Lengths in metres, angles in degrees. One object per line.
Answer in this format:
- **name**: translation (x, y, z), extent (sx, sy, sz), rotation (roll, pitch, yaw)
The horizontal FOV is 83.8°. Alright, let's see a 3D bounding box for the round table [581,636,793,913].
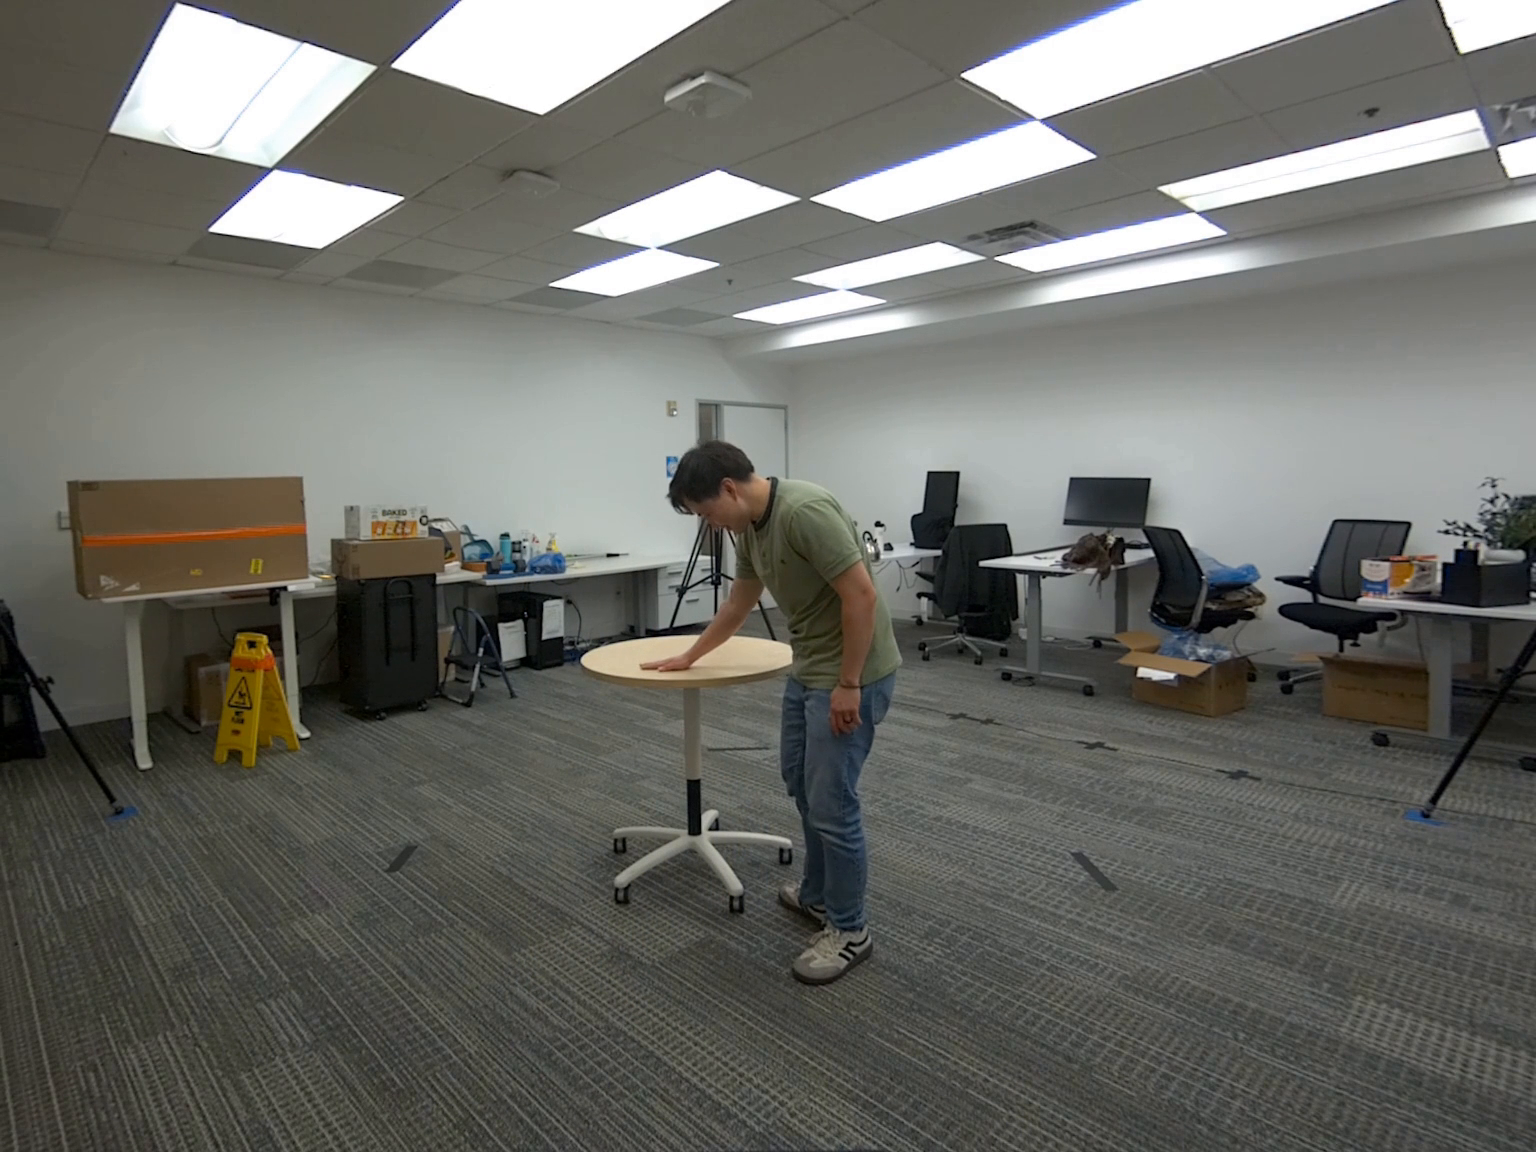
- **round table**: translation (-0.265, 0.669, 3.024), extent (0.763, 0.791, 0.768), rotation (-1, 5, -2)
